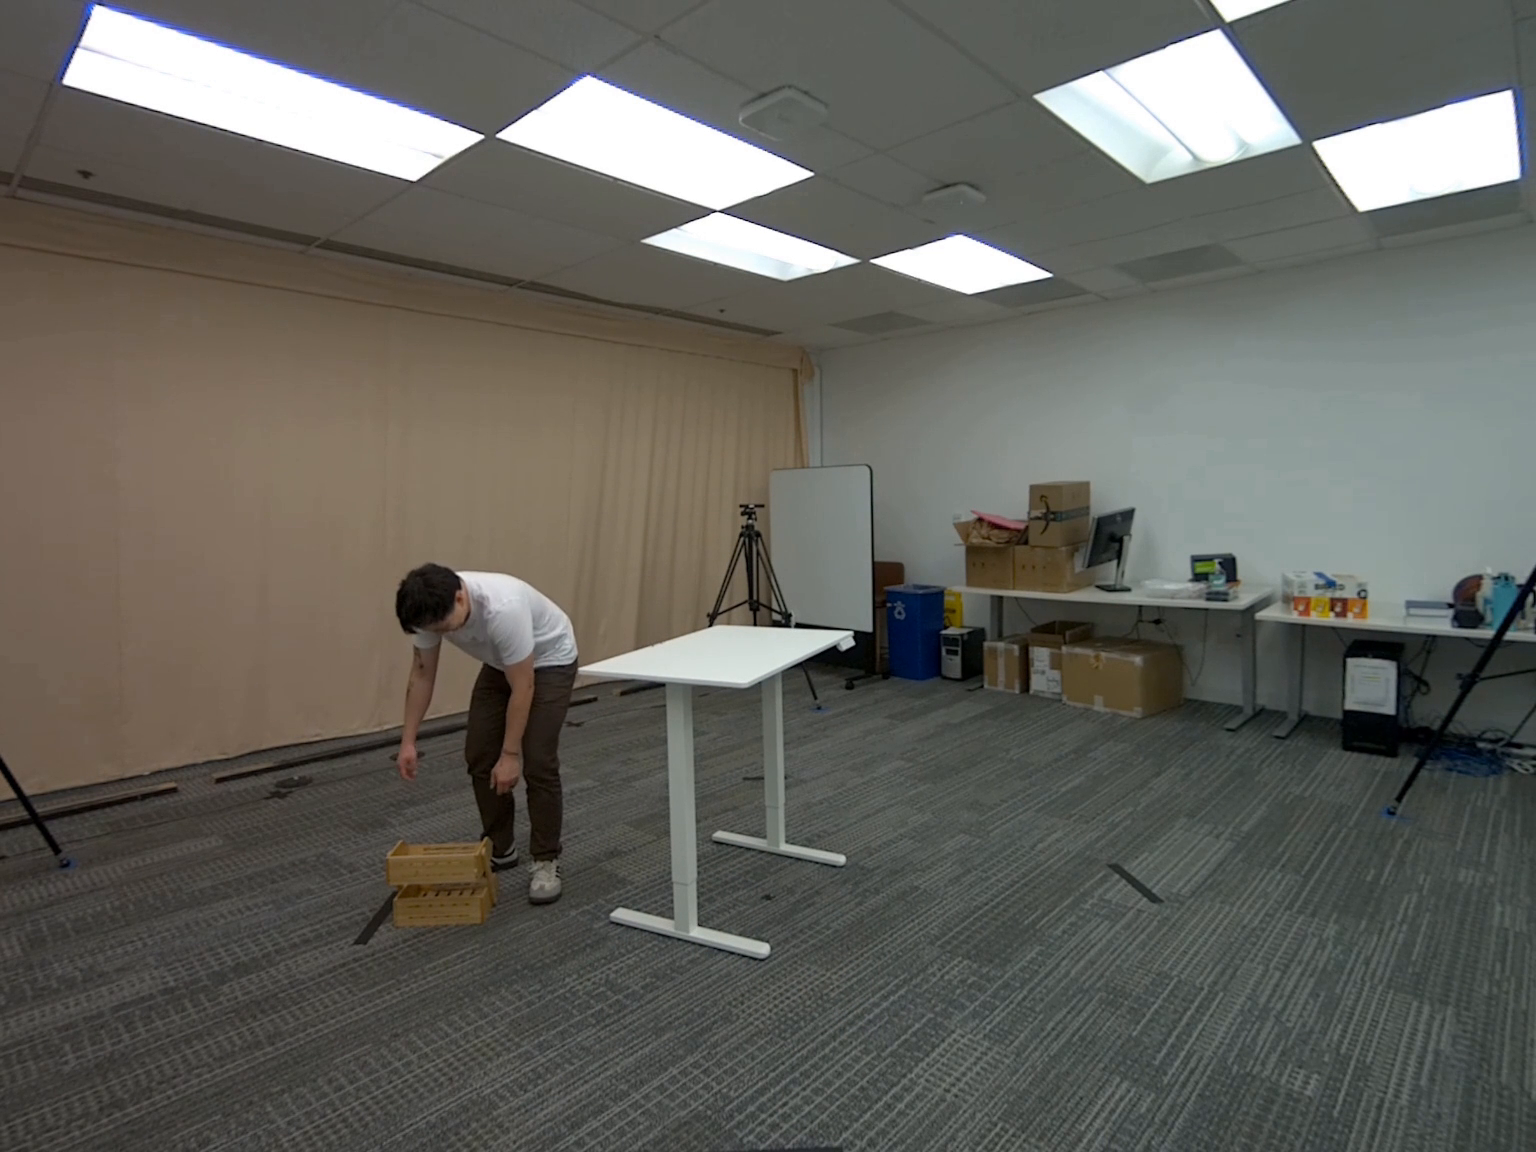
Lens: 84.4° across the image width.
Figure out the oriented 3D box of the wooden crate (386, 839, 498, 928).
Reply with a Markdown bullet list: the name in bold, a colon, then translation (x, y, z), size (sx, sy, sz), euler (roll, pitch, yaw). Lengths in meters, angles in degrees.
- **wooden crate**: translation (-1.132, 1.044, 2.926), size (0.323, 0.272, 0.304), euler (-1, 4, -3)
